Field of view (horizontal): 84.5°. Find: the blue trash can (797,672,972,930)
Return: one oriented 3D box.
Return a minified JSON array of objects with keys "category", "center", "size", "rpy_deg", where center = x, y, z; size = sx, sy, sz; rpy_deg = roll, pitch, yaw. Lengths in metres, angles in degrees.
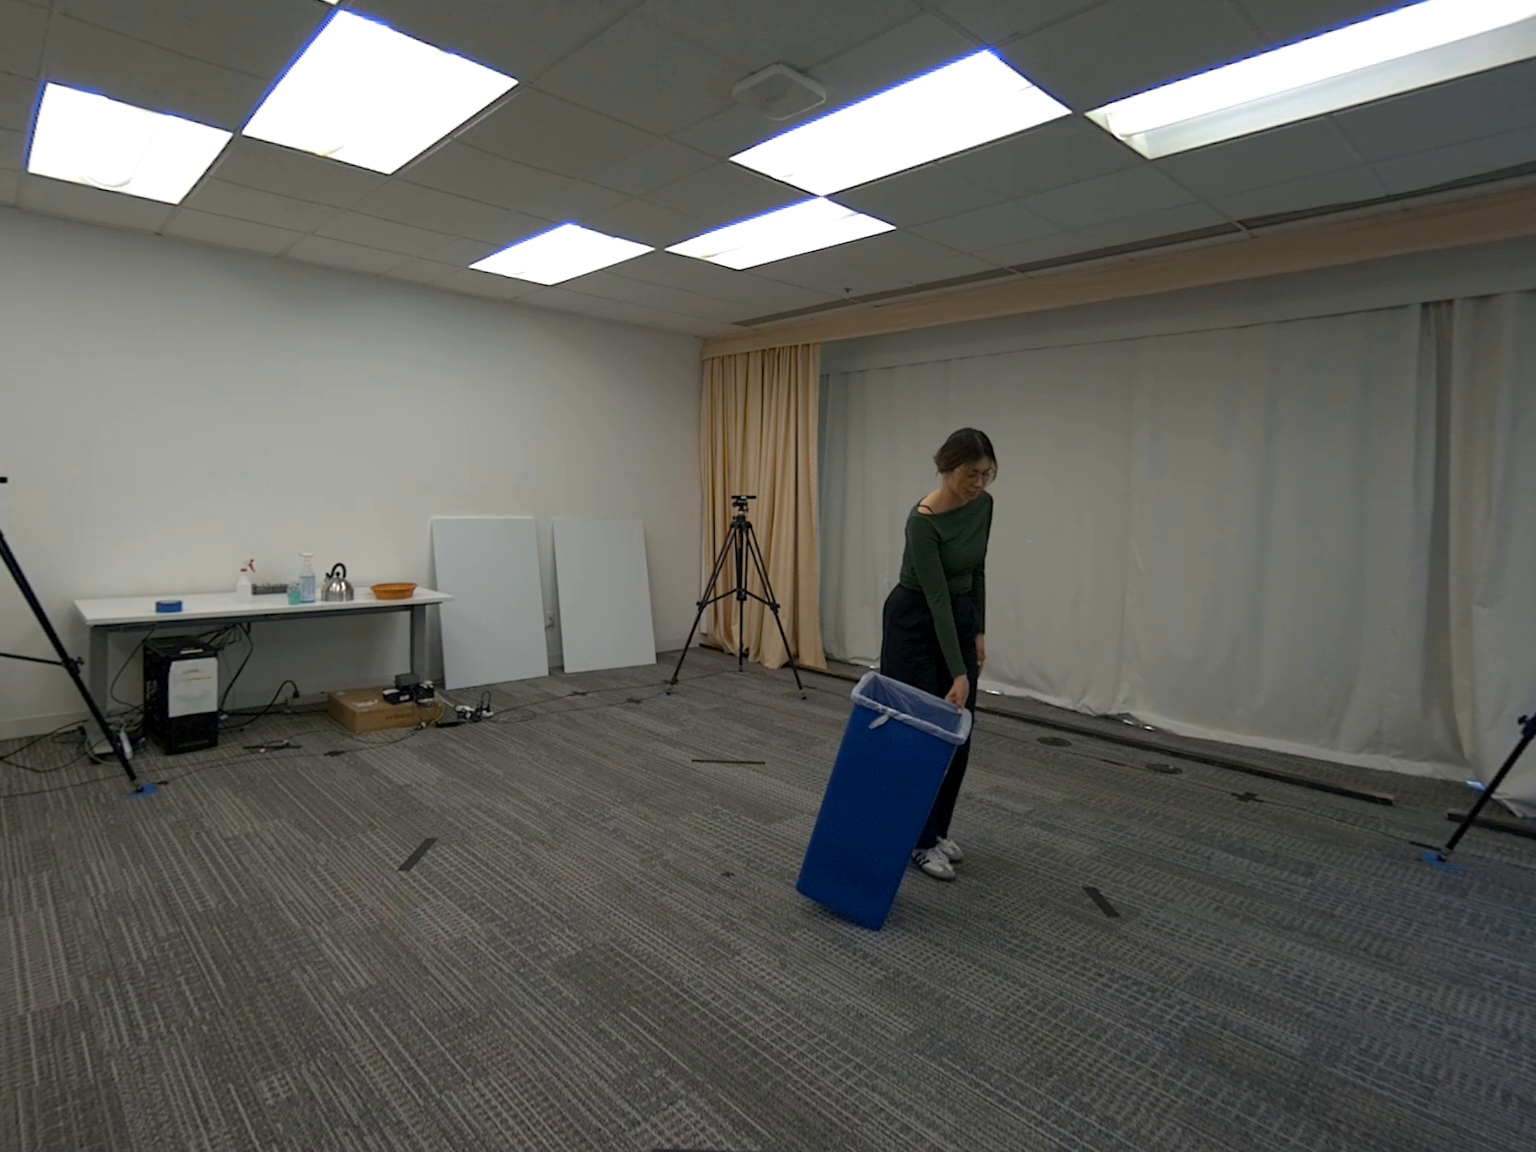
[{"category":"blue trash can","center":[0.363,0.752,2.836],"size":[0.379,0.710,0.374],"rpy_deg":[20,9,14]}]
